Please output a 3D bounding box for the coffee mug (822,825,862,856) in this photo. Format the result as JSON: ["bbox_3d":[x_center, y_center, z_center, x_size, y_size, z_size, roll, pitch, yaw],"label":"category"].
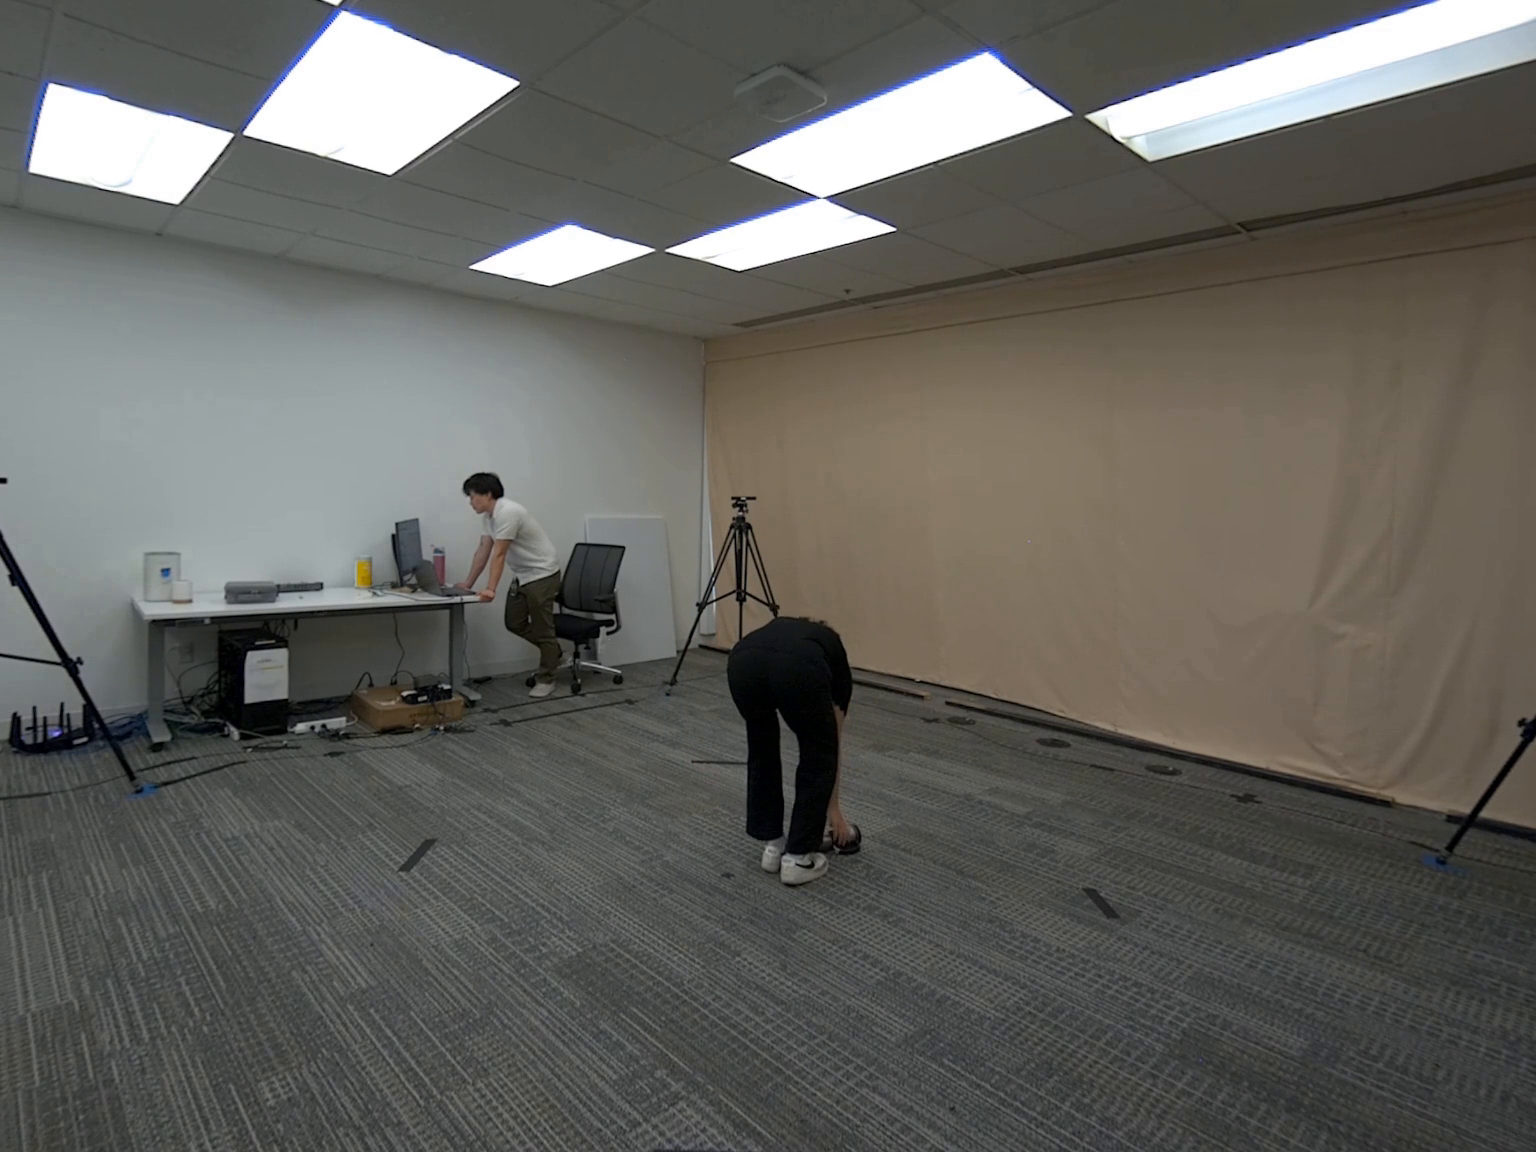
[{"bbox_3d":[0.260,1.045,3.346,0.199,0.089,0.123,-2,-12,-27],"label":"coffee mug"}]
